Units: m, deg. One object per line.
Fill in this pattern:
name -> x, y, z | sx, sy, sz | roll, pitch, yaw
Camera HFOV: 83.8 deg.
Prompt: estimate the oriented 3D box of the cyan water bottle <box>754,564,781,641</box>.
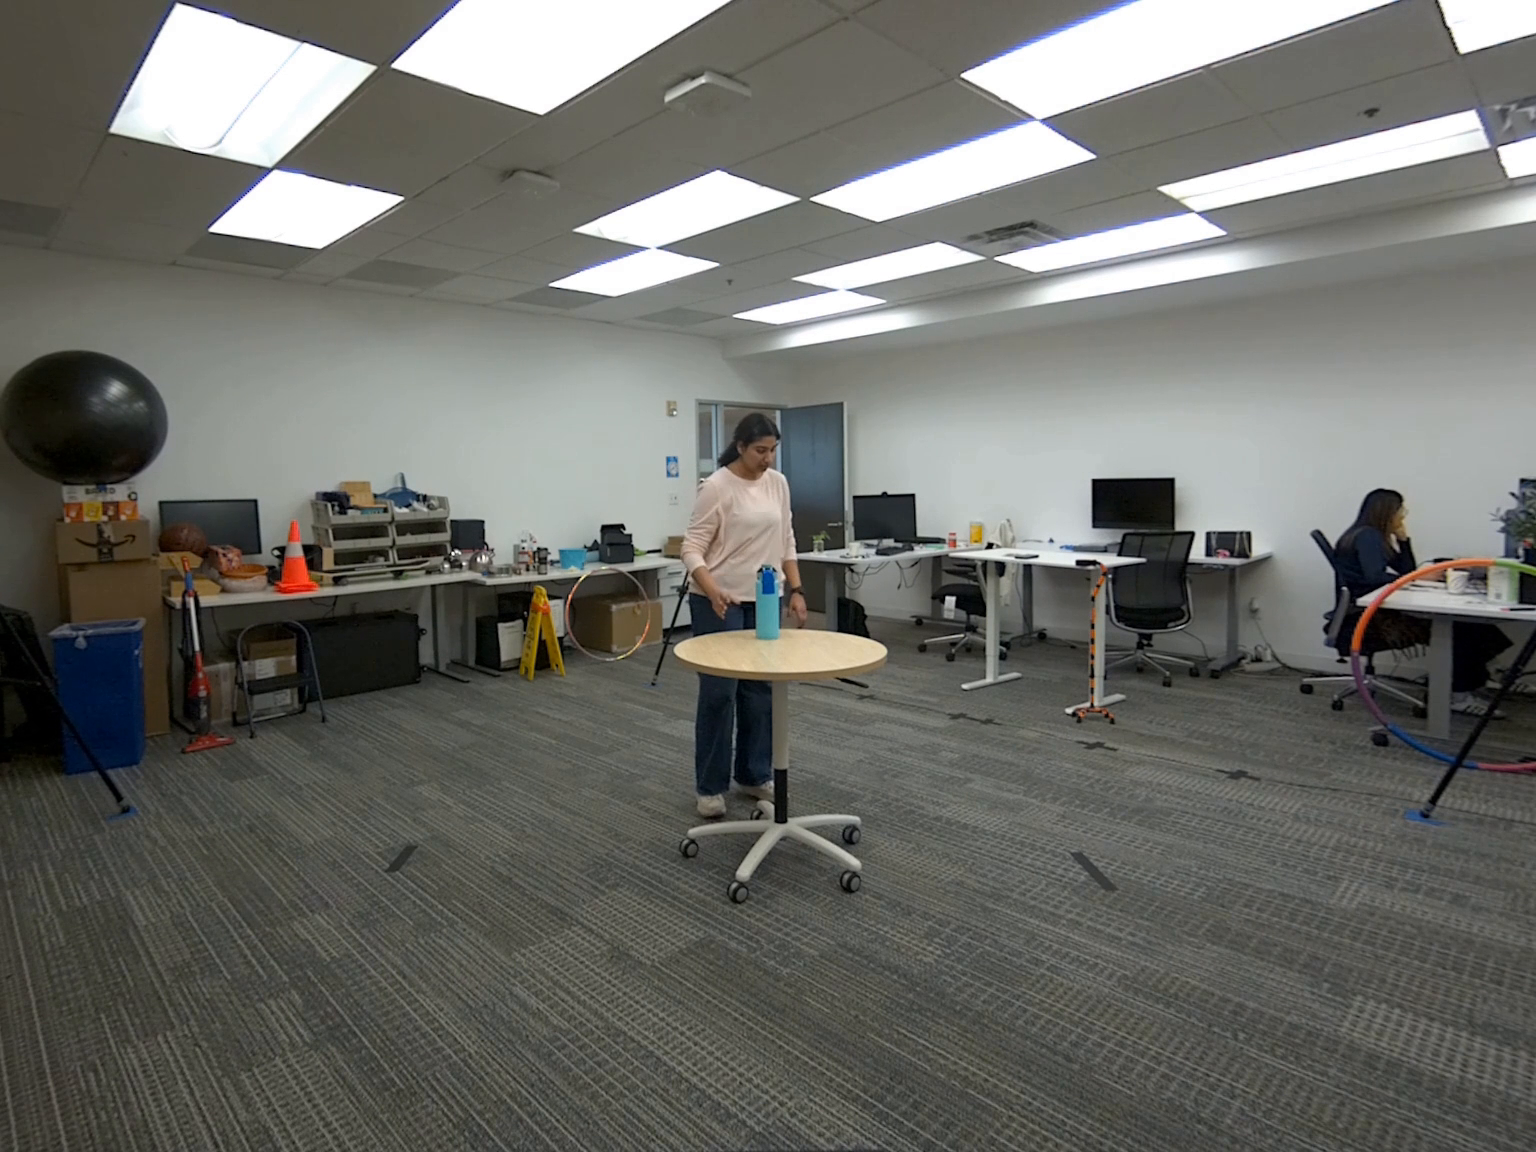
cyan water bottle -> -0.005, 0.101, 3.283 | 0.092, 0.282, 0.093 | 0, 5, -2
